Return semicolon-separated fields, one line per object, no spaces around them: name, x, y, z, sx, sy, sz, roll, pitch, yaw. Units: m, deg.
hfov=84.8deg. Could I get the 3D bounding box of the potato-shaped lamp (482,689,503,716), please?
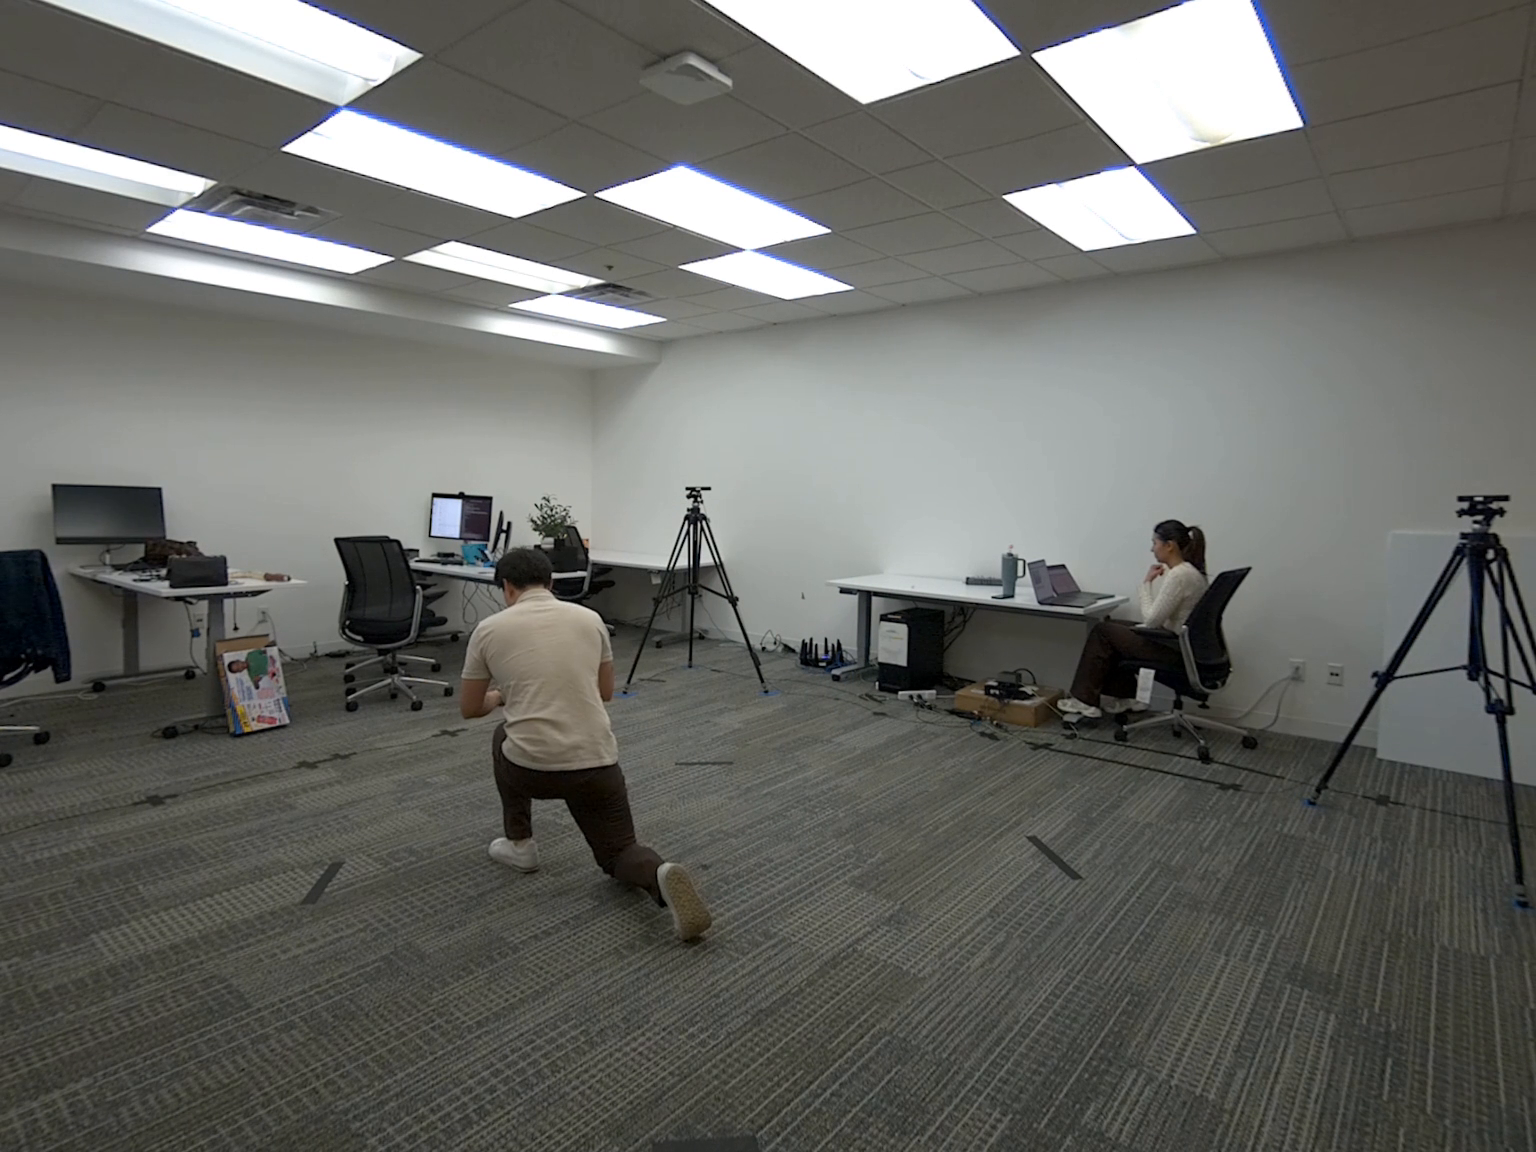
potato-shaped lamp;-0.961;0.382;3.297;0.176;0.196;0.162;4;11;24
